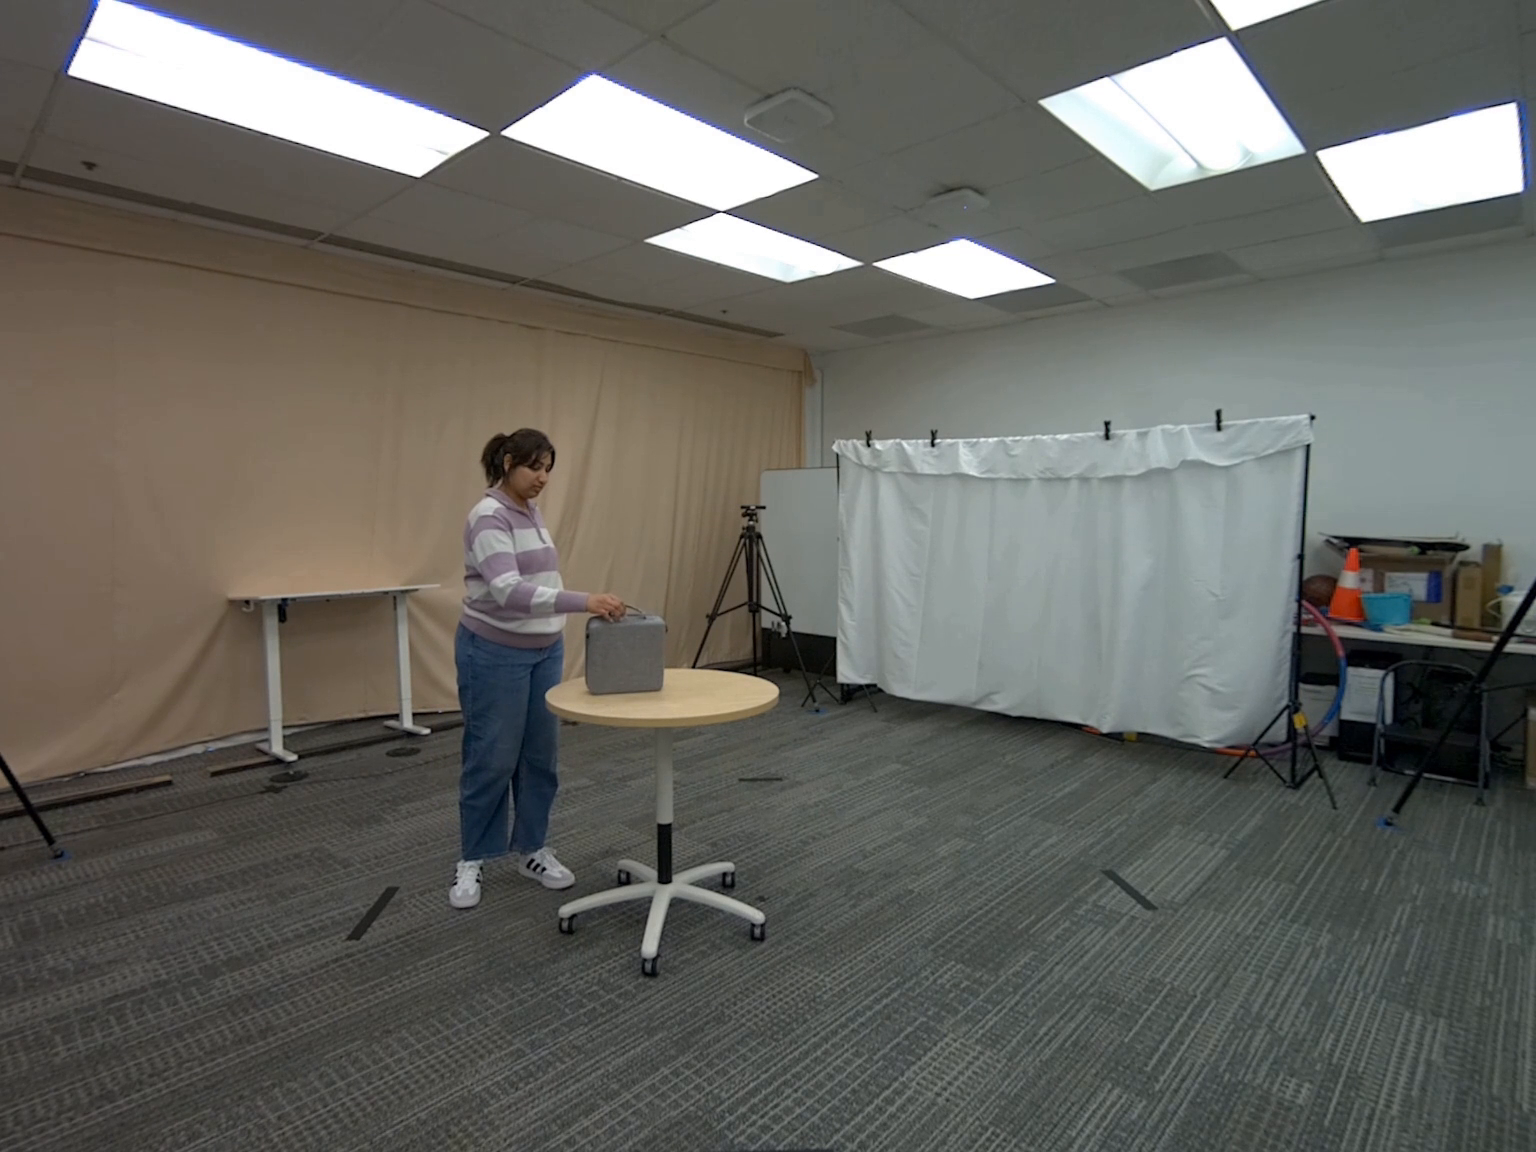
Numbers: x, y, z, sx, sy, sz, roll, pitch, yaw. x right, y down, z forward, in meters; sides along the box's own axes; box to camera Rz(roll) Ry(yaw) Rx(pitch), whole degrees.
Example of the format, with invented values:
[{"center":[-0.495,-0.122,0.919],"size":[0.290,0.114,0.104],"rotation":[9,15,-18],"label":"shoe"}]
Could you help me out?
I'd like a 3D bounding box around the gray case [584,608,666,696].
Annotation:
[{"center":[-0.466,0.255,2.751],"size":[0.253,0.259,0.106],"rotation":[-3,11,-14],"label":"gray case"}]
